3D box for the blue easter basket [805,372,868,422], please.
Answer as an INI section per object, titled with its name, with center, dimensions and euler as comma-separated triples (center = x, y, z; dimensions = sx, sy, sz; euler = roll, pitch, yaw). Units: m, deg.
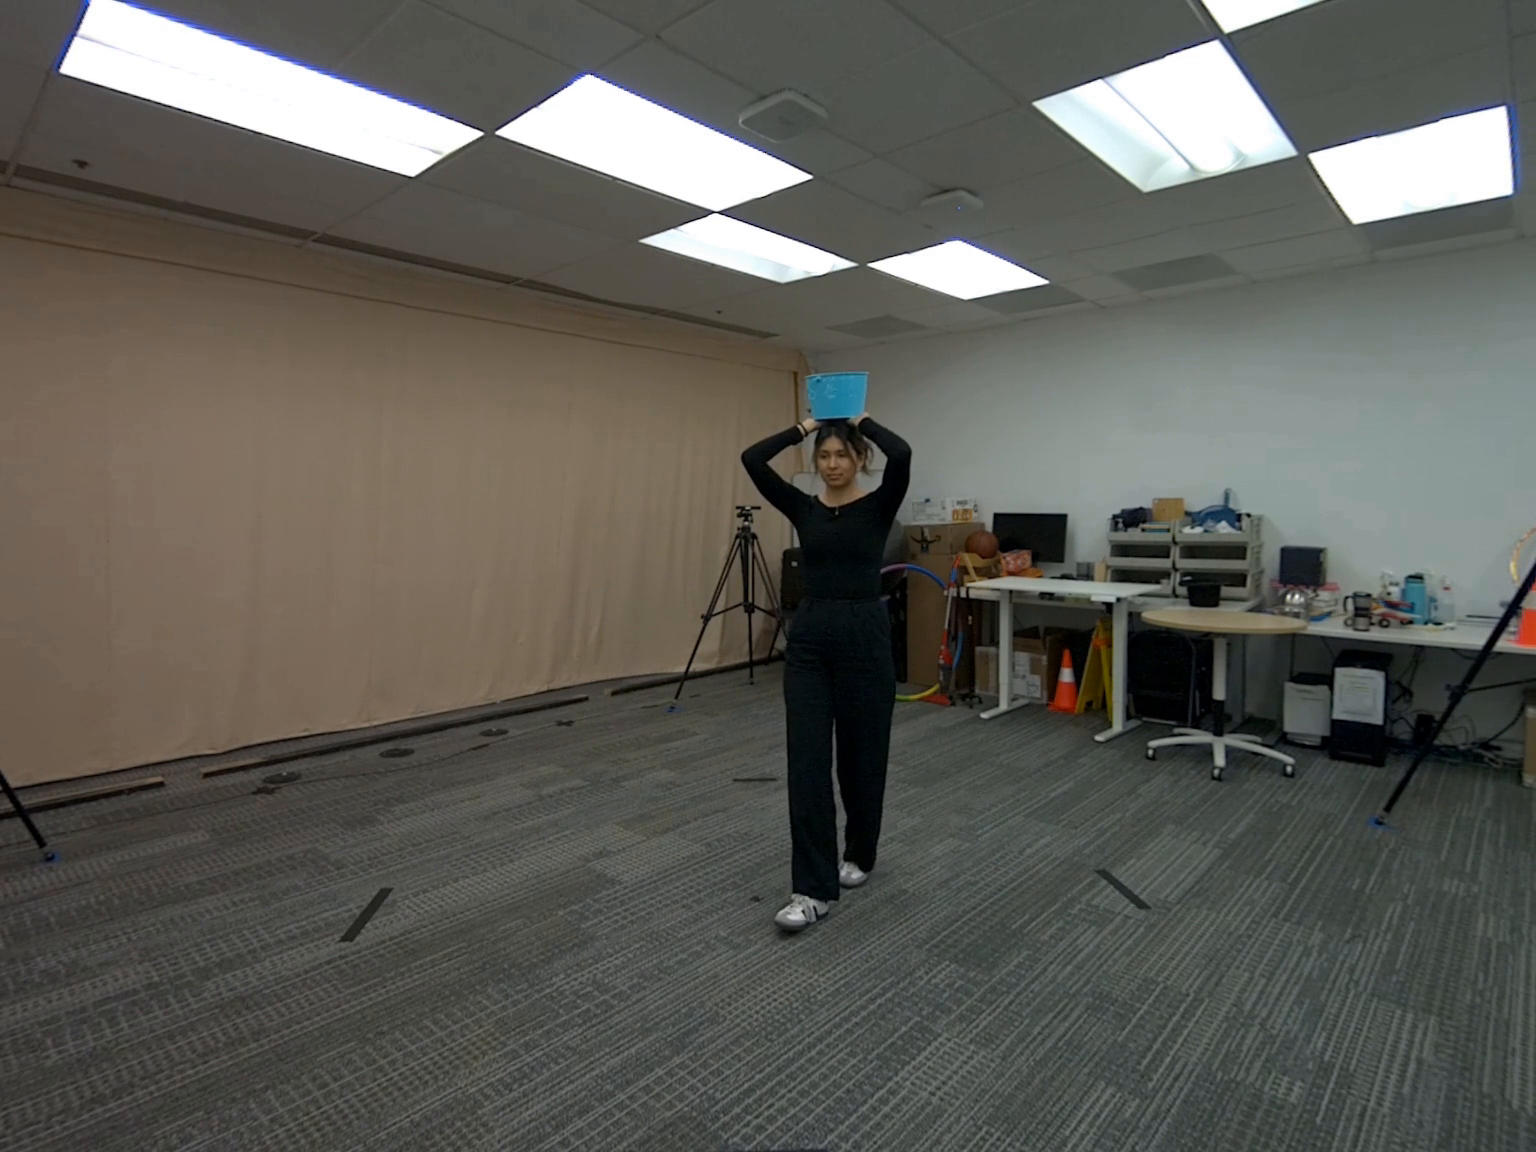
[blue easter basket]
center = 0.252, -0.641, 3.027
dimensions = 0.243, 0.155, 0.245
euler = -3, 8, -2
